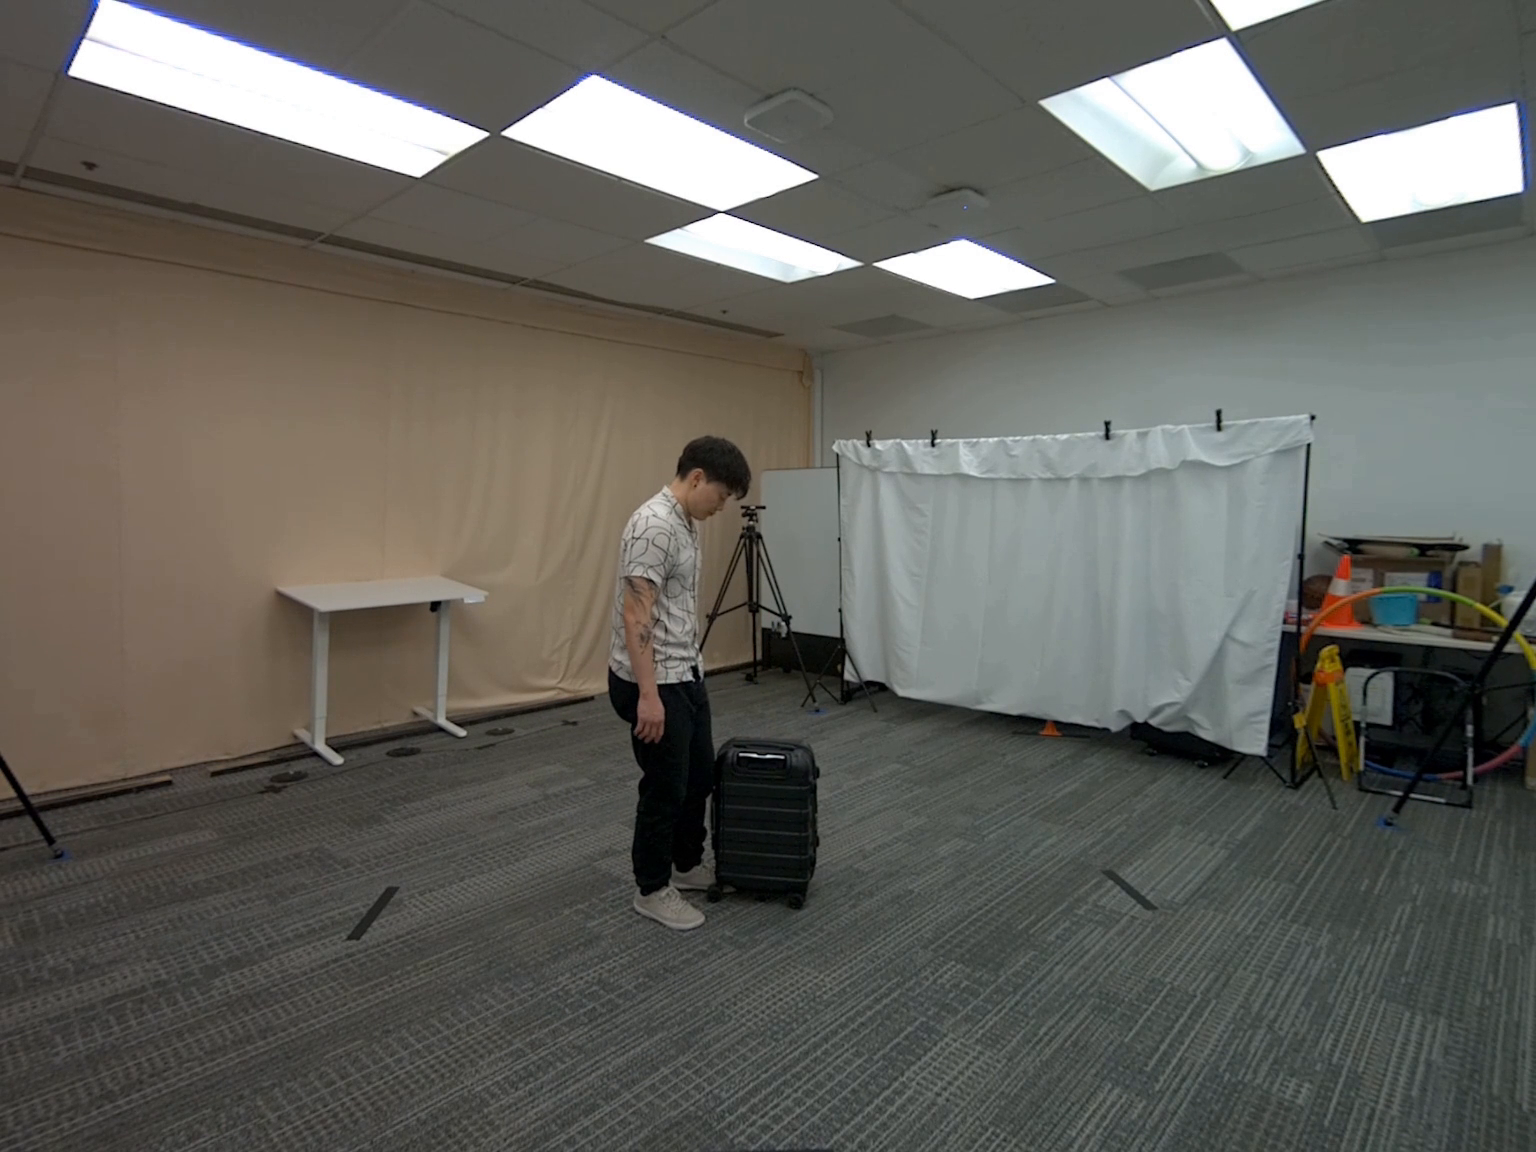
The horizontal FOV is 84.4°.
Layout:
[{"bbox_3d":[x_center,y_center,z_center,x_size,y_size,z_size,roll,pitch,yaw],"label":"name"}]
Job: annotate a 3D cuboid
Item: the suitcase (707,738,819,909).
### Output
[{"bbox_3d":[-0.002,0.865,3.036,0.379,0.548,0.246,1,4,8],"label":"suitcase"}]
